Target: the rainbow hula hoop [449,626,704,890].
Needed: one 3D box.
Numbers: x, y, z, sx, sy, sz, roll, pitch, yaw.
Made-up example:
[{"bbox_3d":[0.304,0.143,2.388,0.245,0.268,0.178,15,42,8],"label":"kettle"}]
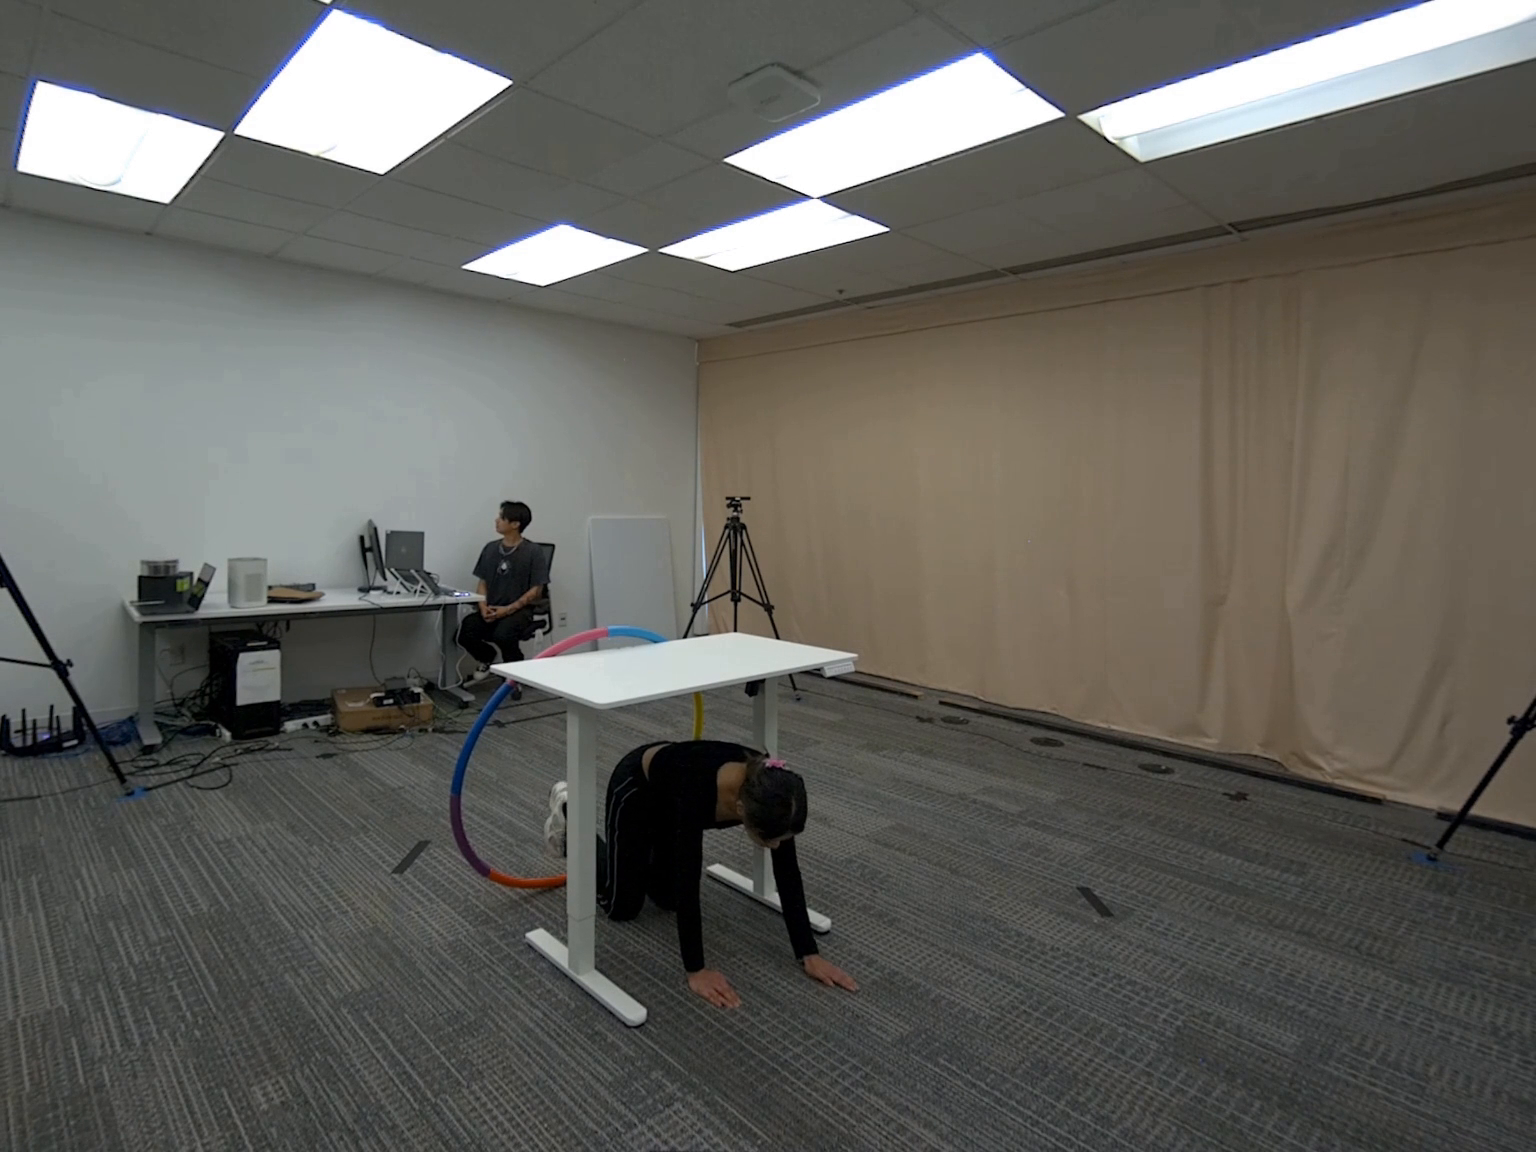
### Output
[{"bbox_3d":[-0.625,0.642,2.912,0.956,0.970,0.036,-3,21,-43],"label":"rainbow hula hoop"}]
